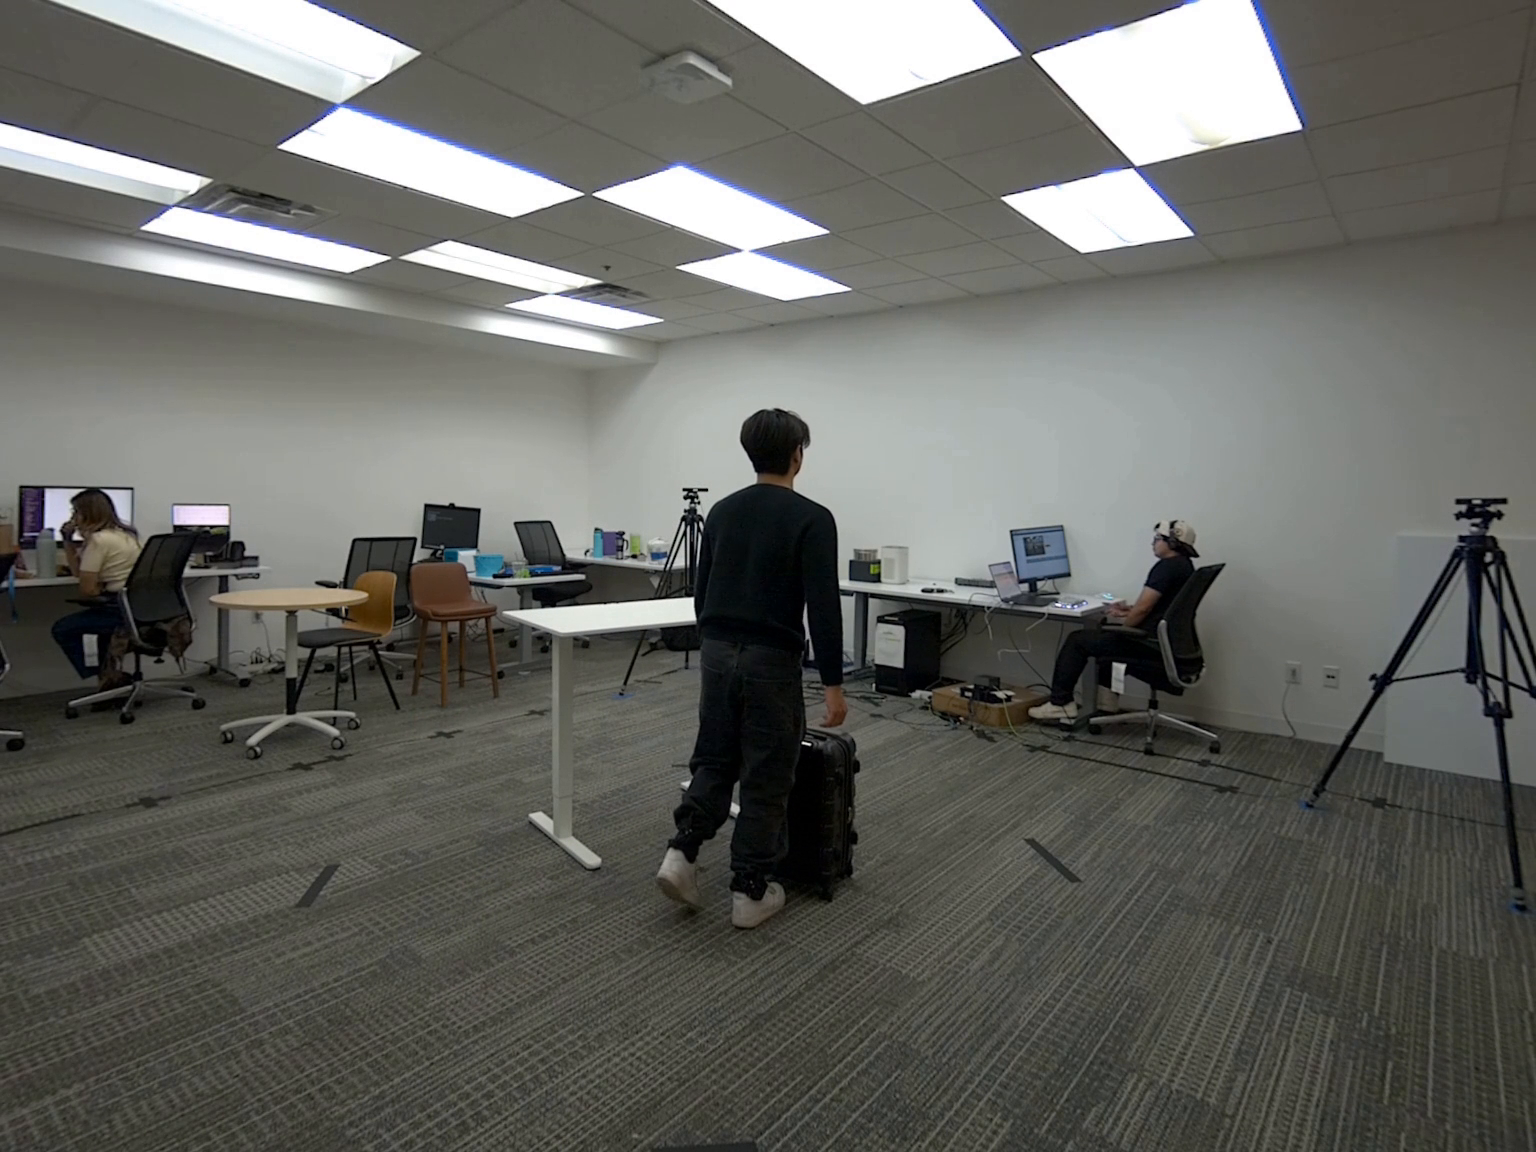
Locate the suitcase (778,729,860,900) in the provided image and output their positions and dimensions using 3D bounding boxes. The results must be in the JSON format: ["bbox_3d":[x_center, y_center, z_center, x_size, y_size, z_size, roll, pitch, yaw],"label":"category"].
[{"bbox_3d":[0.114,0.806,3.037,0.386,0.548,0.242,3,3,28],"label":"suitcase"}]
